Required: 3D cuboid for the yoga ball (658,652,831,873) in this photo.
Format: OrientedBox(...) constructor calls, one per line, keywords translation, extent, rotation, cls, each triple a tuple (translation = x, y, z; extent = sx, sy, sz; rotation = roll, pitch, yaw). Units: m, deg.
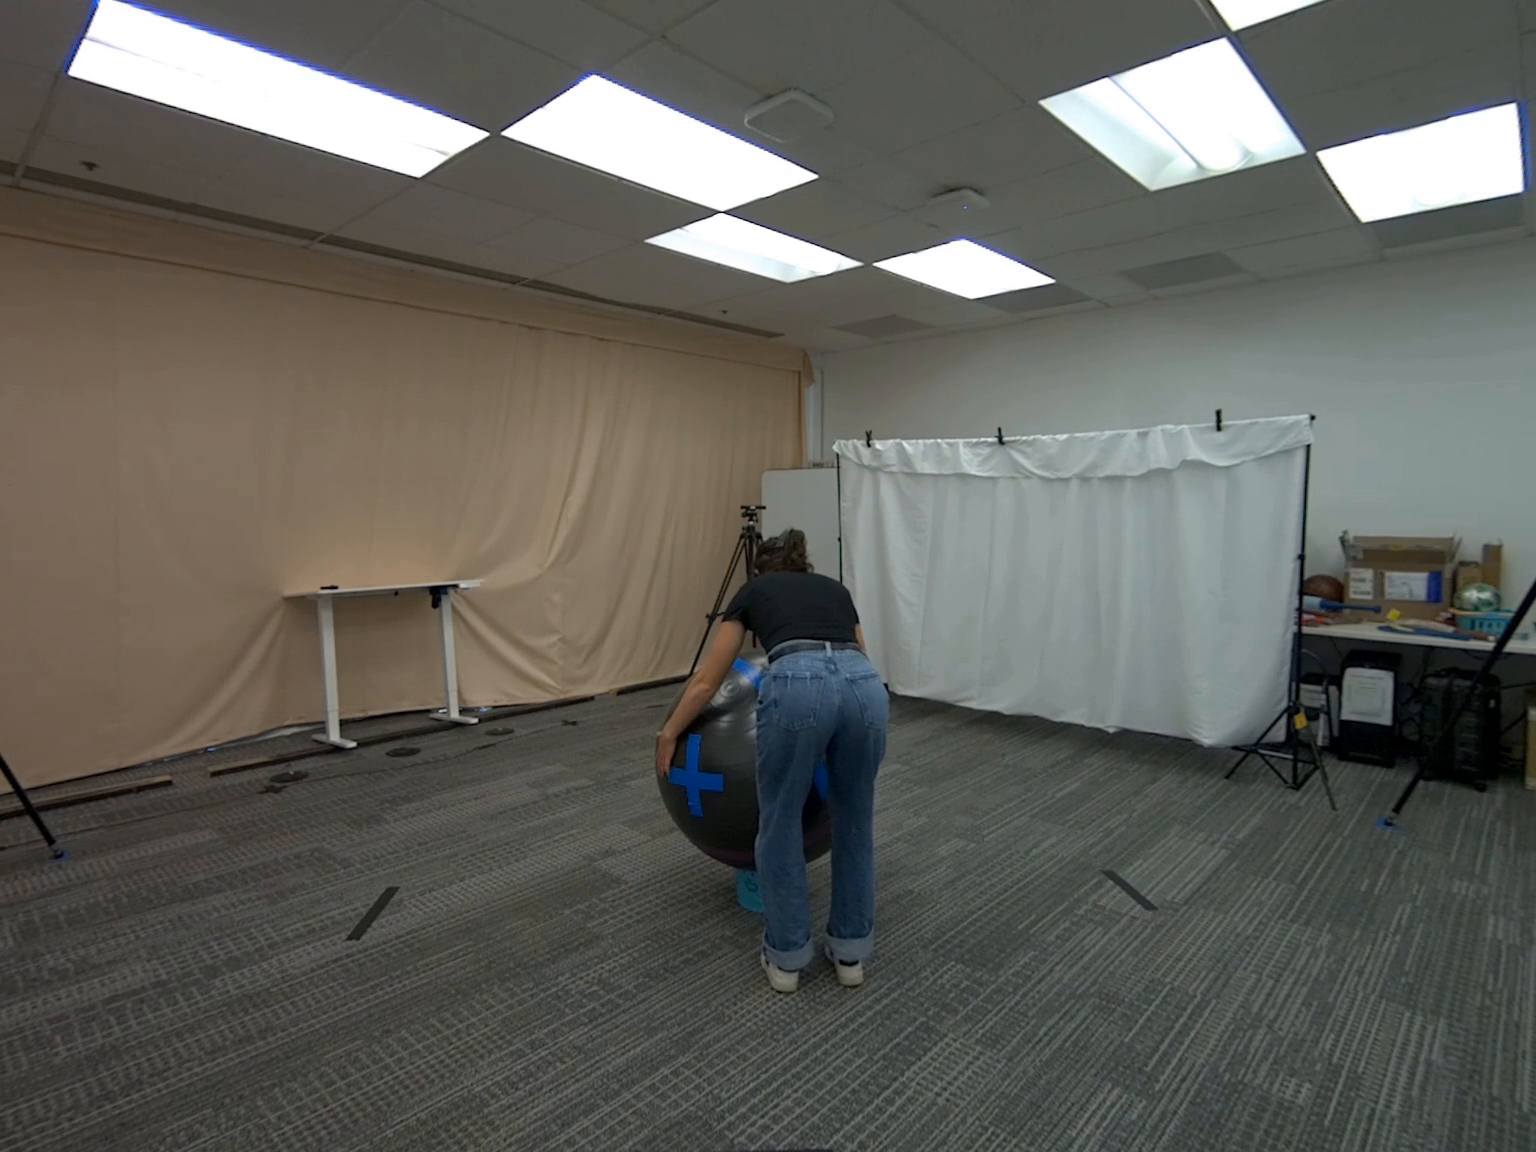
OrientedBox(translation=(-0.012, 0.629, 2.951), extent=(0.757, 0.756, 0.760), rotation=(0, 4, -2), cls="yoga ball")
